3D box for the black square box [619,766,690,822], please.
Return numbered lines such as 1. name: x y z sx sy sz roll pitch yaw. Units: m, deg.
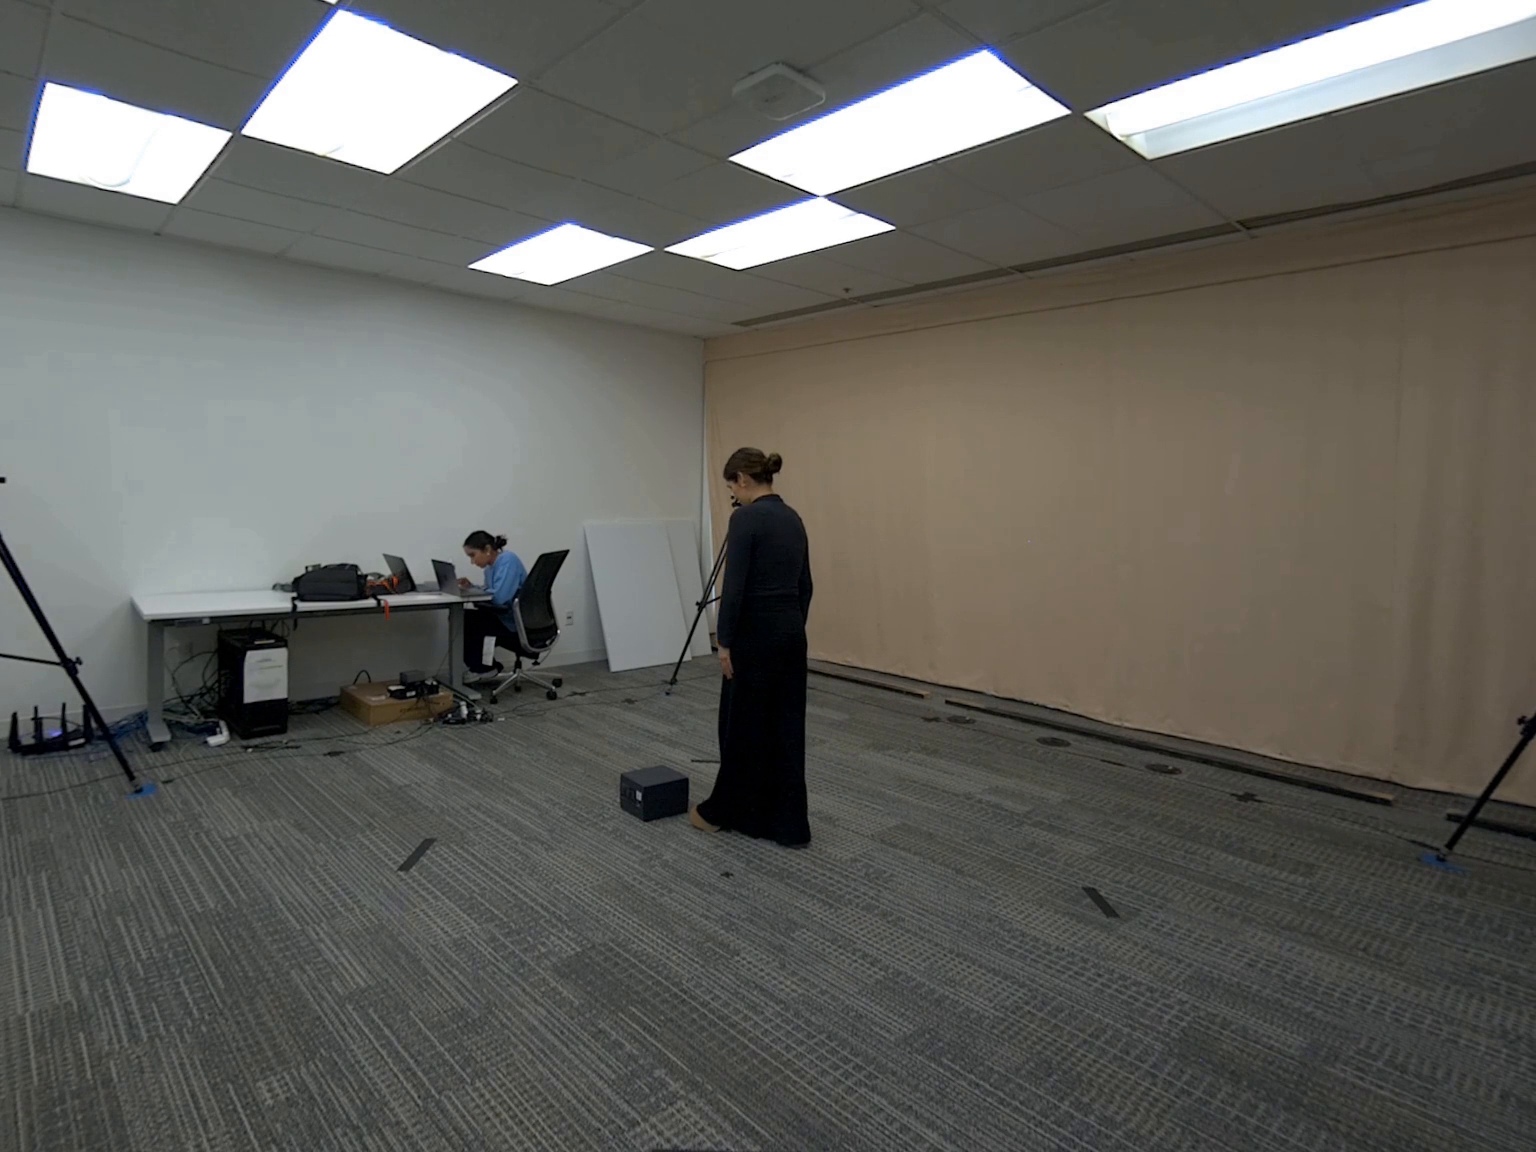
1. black square box: -0.511 0.954 3.728 0.223 0.155 0.222 -2 5 -38
